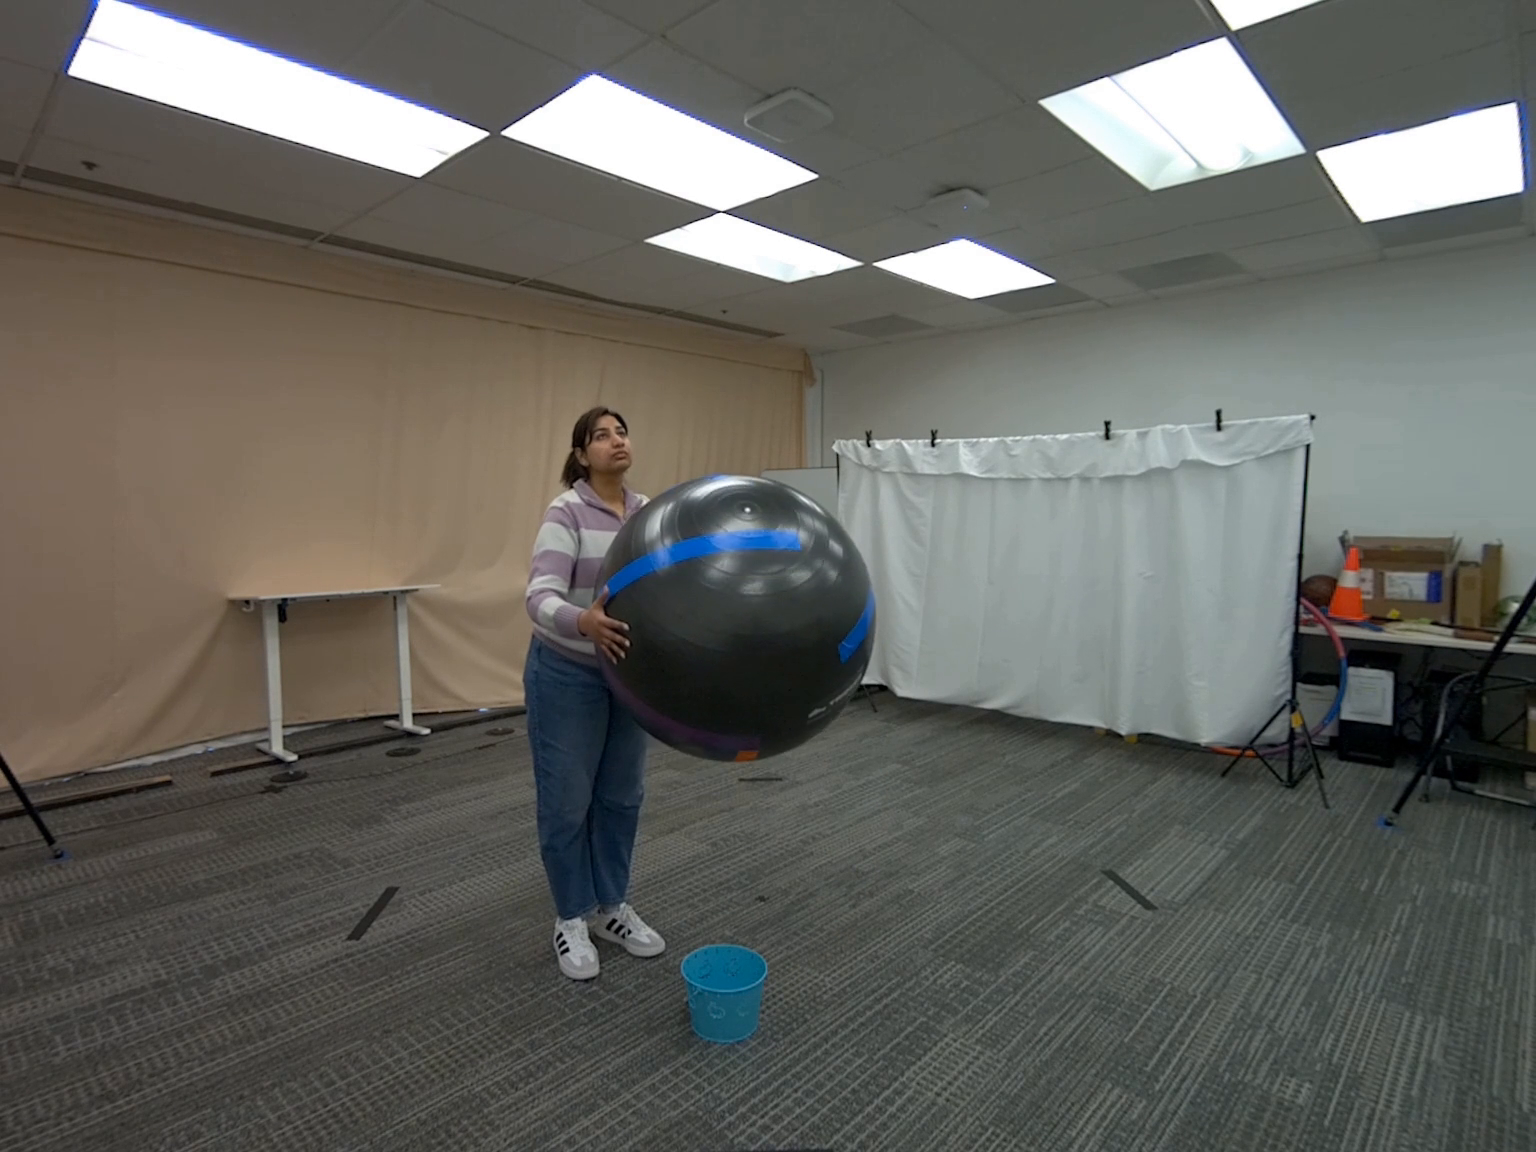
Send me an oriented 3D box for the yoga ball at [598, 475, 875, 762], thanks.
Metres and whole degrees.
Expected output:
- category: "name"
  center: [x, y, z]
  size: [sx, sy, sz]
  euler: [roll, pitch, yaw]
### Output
- category: "yoga ball"
  center: [-0.086, 0.122, 2.235]
  size: [0.757, 0.756, 0.761]
  euler: [0, 4, -2]
